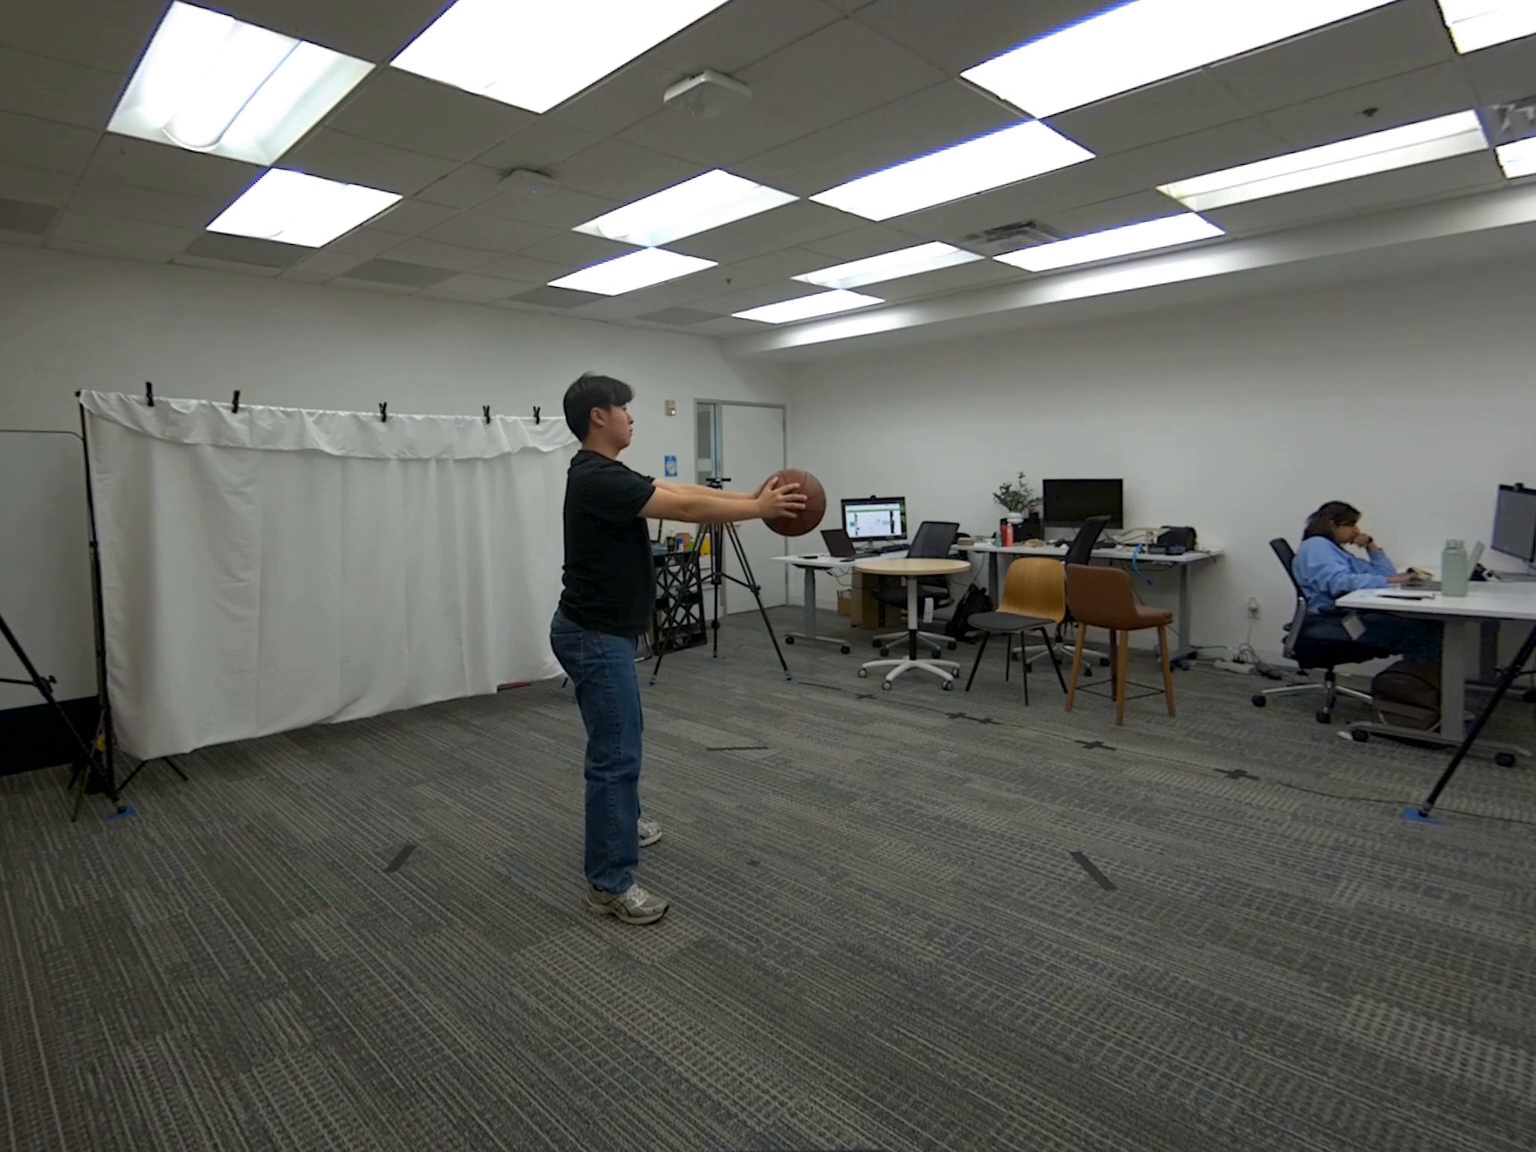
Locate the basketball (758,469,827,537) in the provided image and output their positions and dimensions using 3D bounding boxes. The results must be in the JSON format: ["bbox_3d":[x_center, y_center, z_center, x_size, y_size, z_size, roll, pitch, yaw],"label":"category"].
[{"bbox_3d":[0.087,-0.253,2.975,0.236,0.235,0.237,-1,5,-2],"label":"basketball"}]
